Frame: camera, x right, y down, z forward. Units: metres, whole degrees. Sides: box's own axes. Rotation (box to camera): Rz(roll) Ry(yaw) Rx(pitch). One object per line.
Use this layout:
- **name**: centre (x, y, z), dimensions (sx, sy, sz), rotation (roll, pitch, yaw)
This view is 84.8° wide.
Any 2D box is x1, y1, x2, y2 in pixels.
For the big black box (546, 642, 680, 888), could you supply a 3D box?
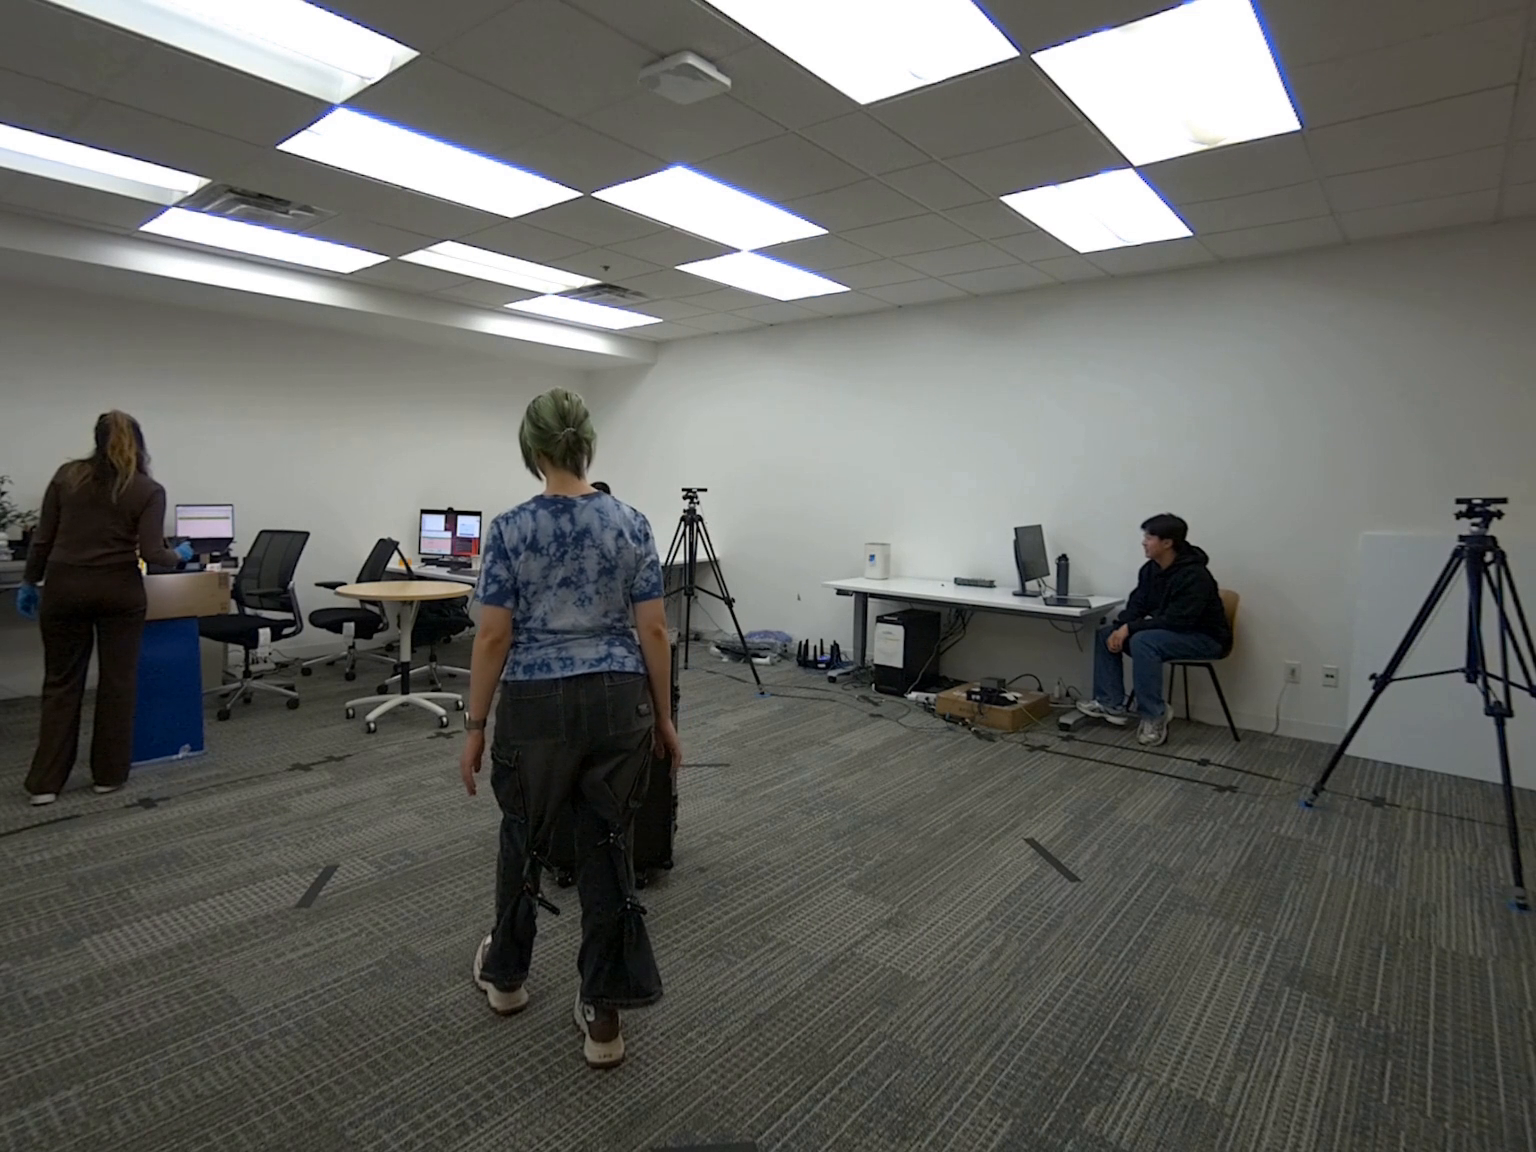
- **big black box**: centre (-0.593, 0.638, 3.110), dimensions (0.521, 0.861, 0.397), rotation (1, 1, 0)
